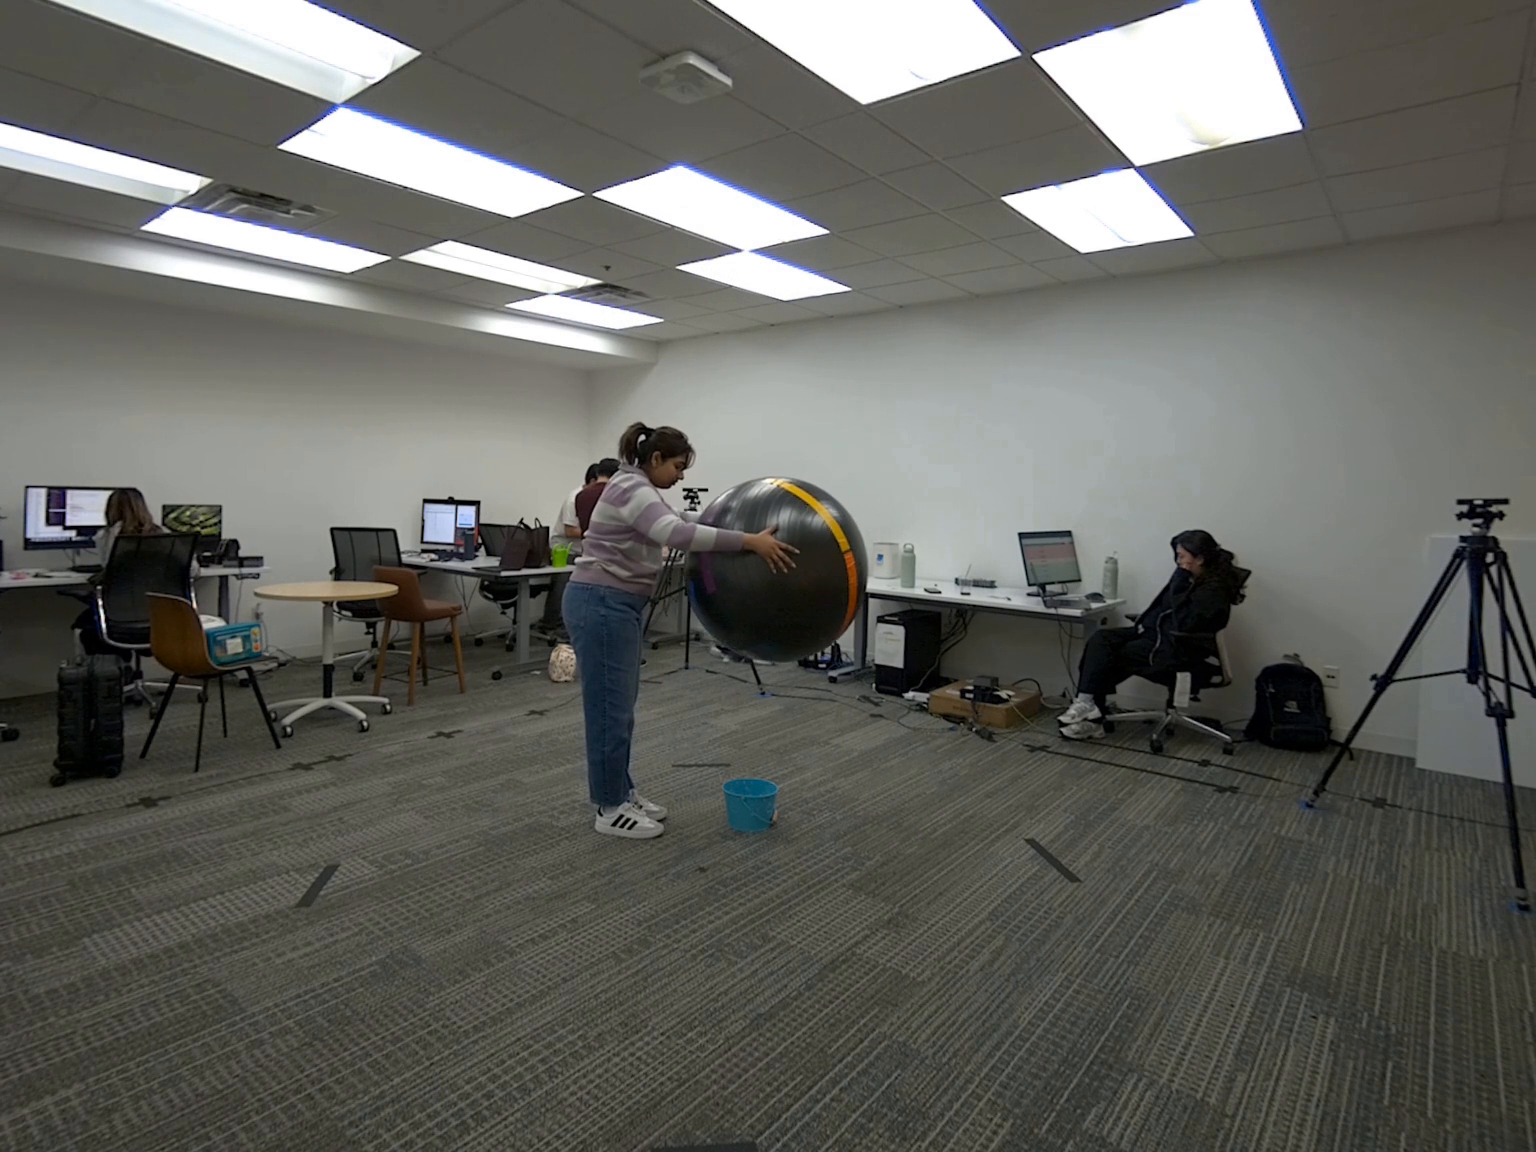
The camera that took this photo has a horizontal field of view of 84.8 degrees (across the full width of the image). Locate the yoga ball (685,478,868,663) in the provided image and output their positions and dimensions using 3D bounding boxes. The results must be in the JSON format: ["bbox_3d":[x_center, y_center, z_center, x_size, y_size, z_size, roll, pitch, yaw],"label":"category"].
[{"bbox_3d":[0.023,-0.032,3.509,0.757,0.756,0.761,1,4,-2],"label":"yoga ball"}]
